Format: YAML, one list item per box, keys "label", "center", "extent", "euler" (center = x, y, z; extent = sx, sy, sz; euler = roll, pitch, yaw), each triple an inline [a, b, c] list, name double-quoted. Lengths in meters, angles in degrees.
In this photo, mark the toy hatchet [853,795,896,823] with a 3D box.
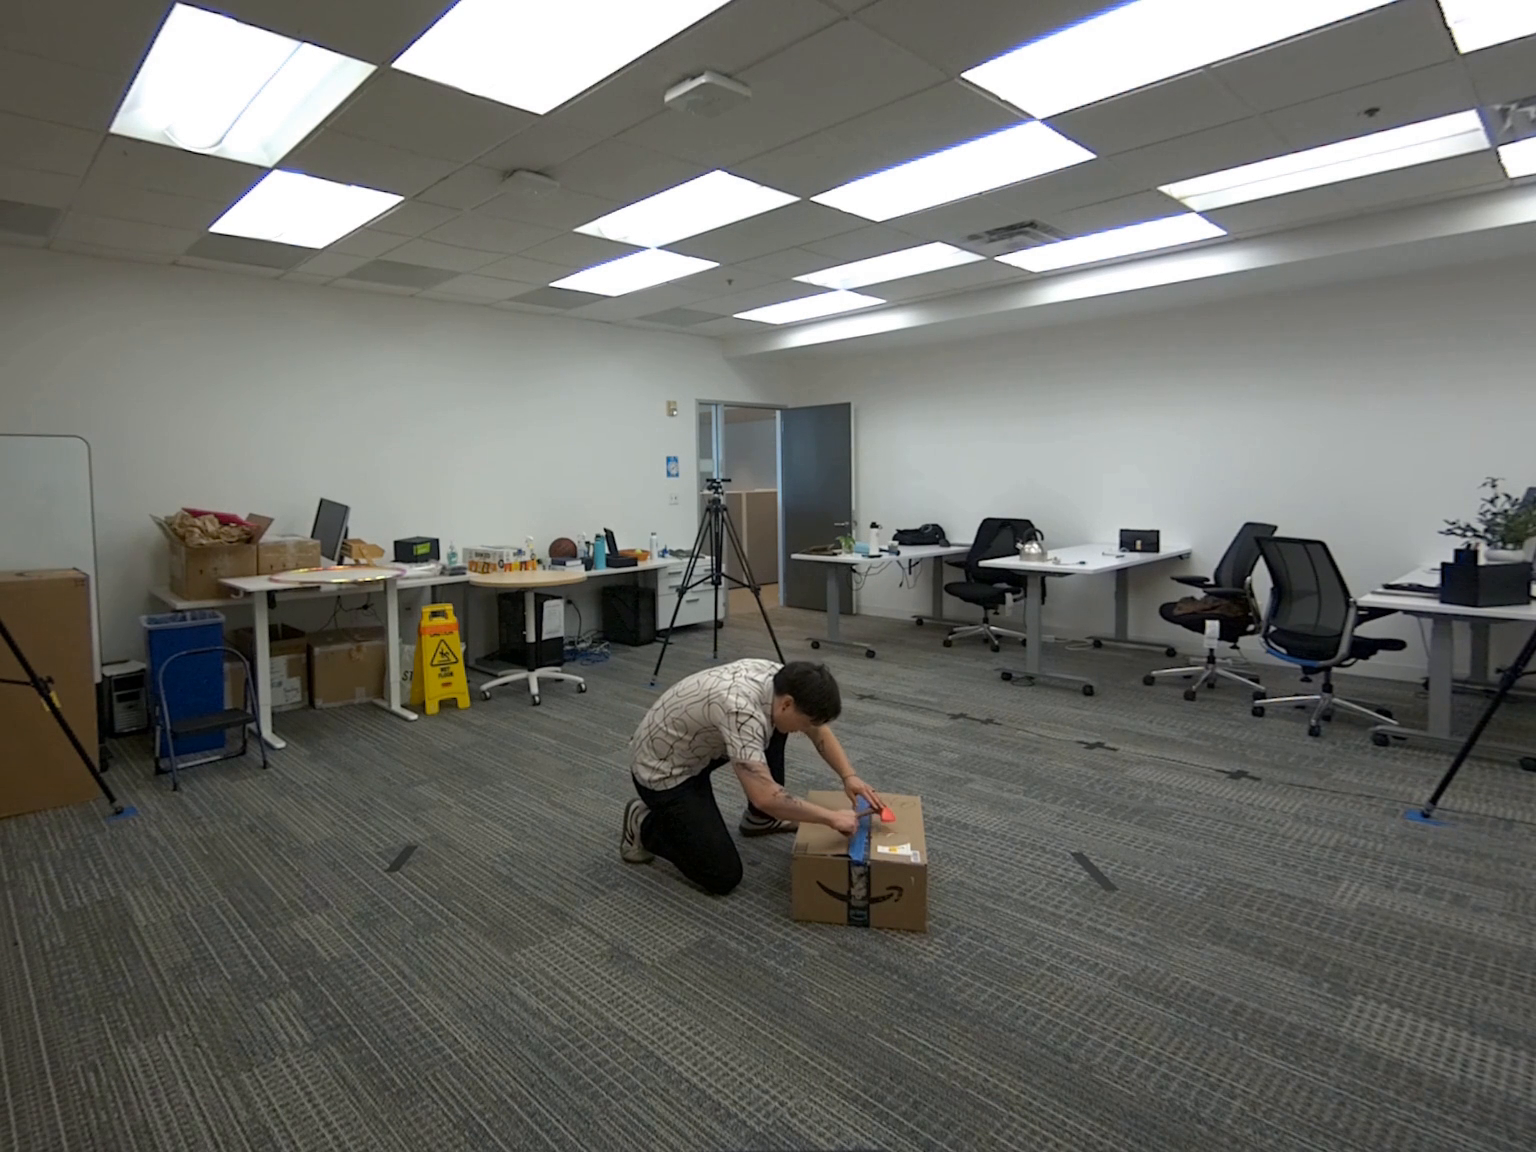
- label: "toy hatchet"
  center: [0.322, 0.812, 2.813]
  extent: [0.135, 0.029, 0.266]
  euler: [24, 25, 24]
